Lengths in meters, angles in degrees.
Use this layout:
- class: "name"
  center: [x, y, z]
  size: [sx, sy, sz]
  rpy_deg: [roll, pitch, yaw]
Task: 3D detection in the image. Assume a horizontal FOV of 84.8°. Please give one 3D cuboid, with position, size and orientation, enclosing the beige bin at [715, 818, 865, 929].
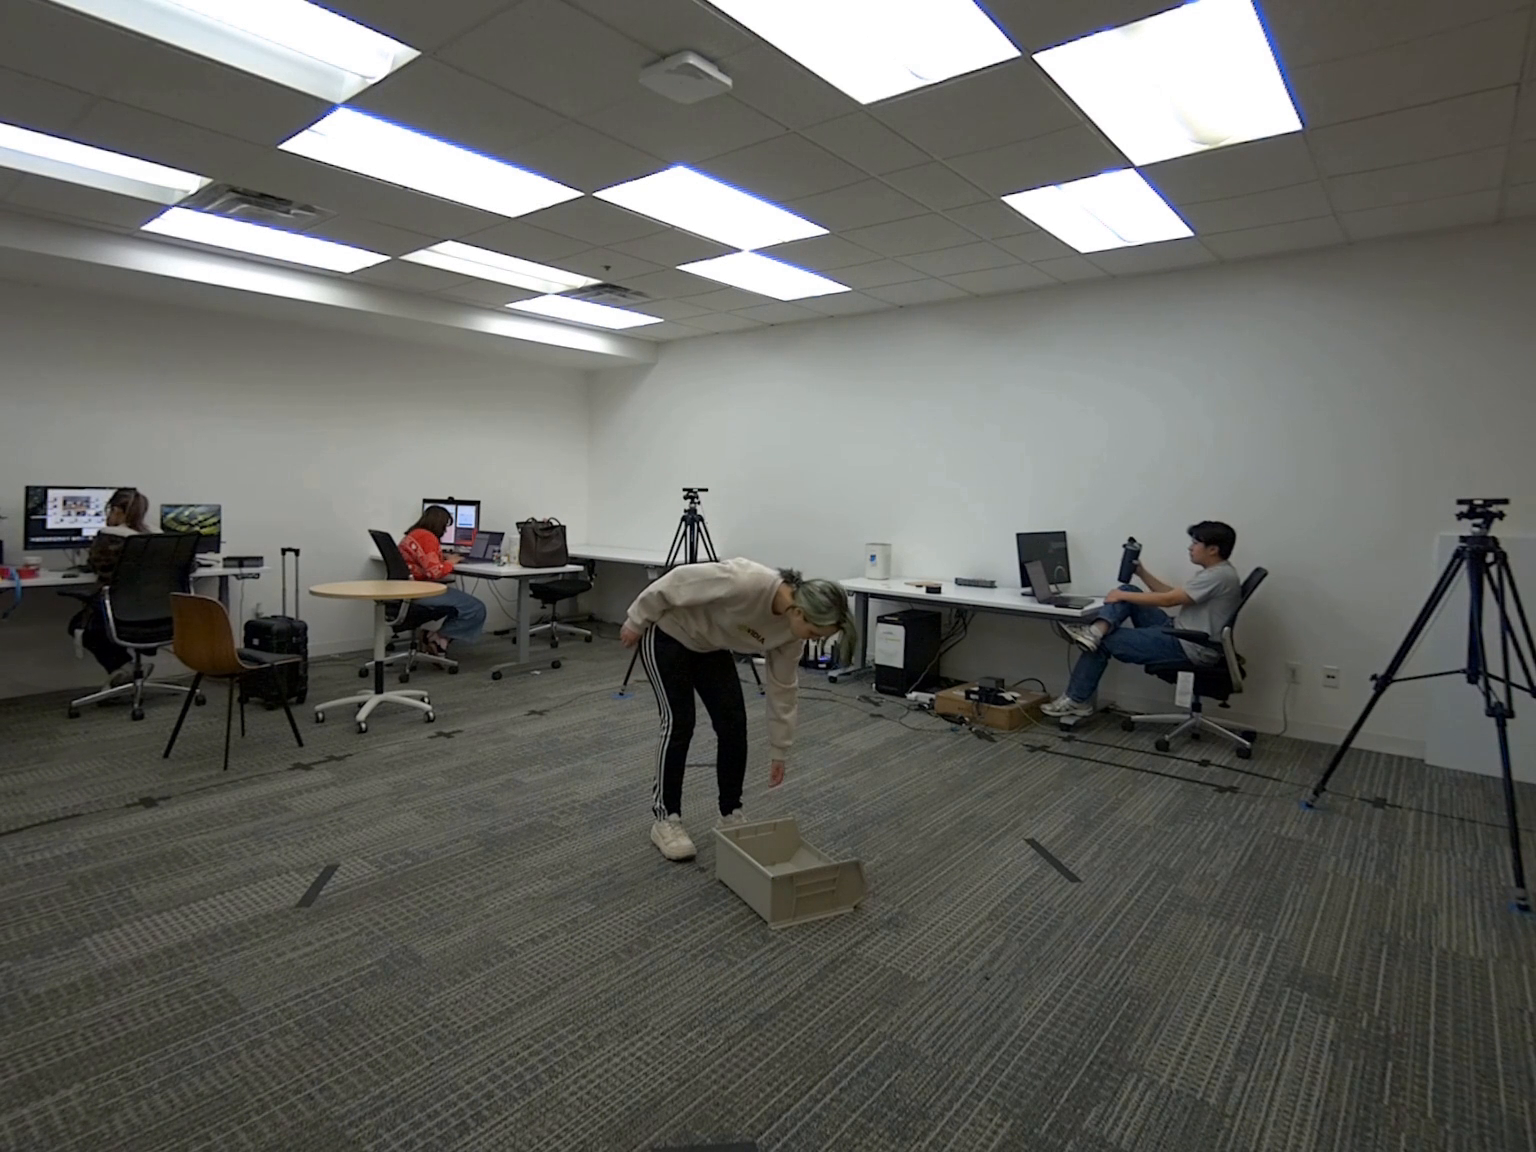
- class: "beige bin"
  center: [0.061, 1.001, 2.940]
  size: [0.368, 0.188, 0.435]
  rpy_deg: [-3, 7, -29]
